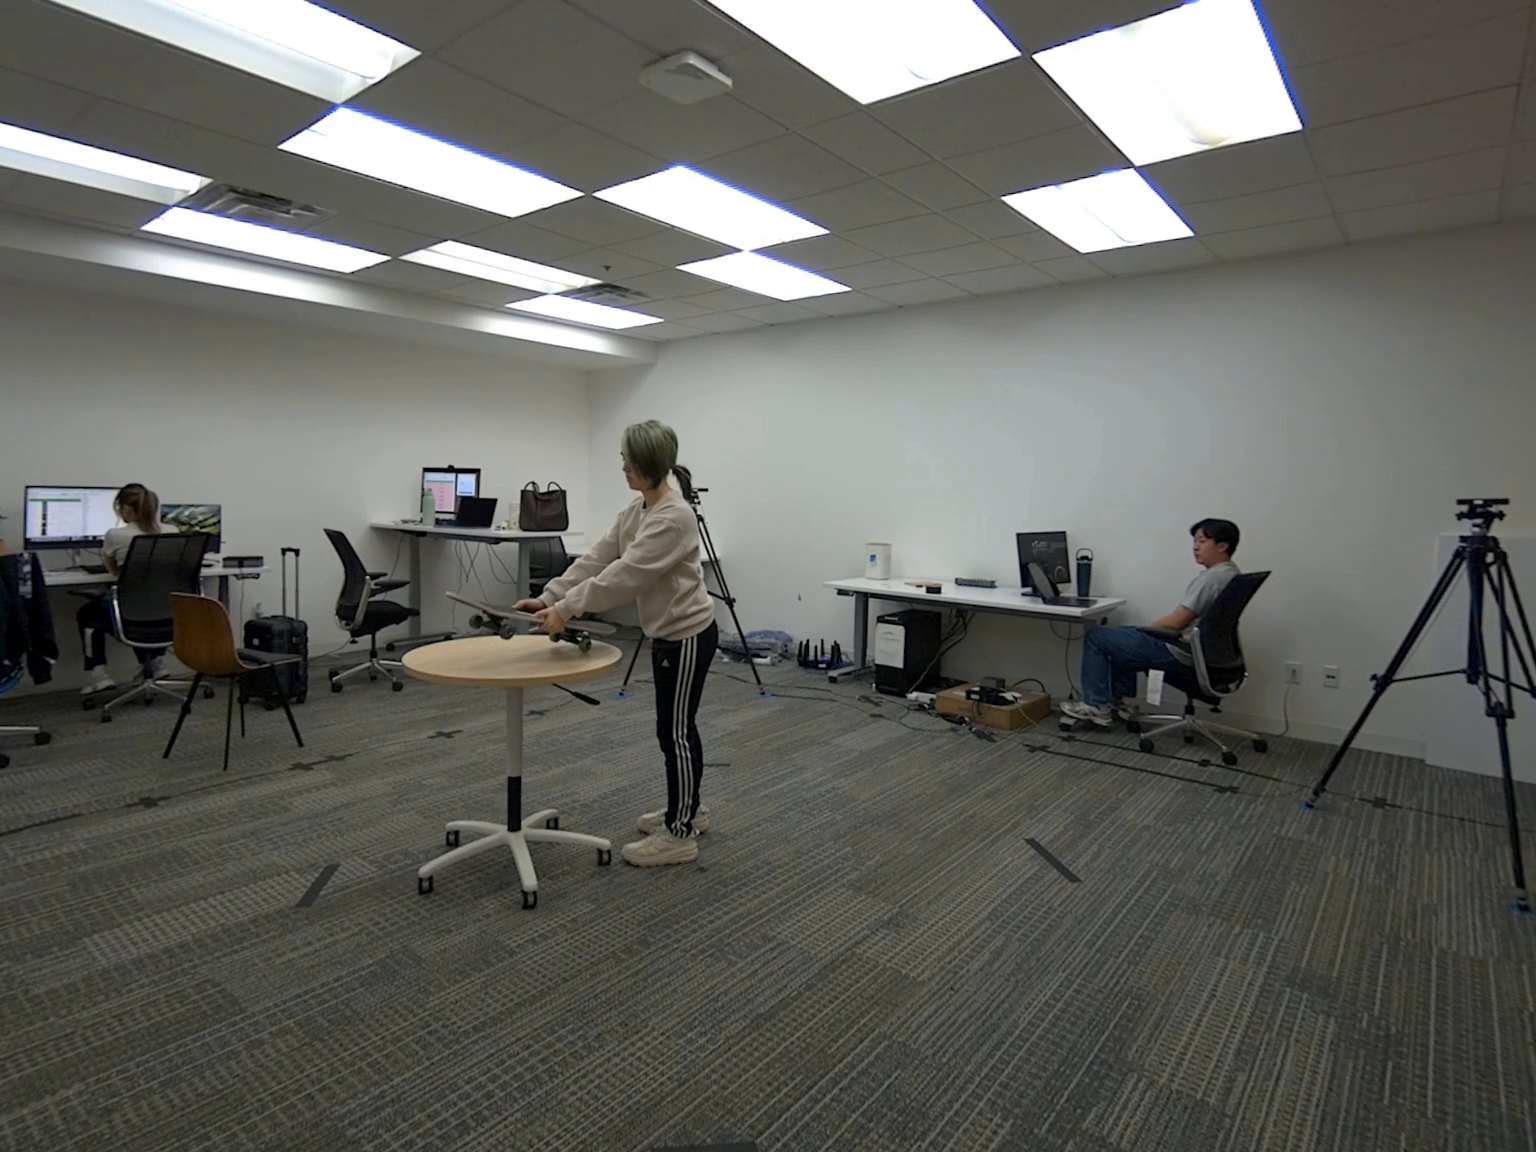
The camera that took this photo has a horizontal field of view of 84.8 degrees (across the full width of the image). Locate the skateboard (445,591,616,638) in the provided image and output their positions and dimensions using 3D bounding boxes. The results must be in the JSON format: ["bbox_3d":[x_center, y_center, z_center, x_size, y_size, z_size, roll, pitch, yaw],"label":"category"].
[{"bbox_3d":[-0.836,0.176,3.010,0.200,0.111,0.757,12,-5,30],"label":"skateboard"}]
